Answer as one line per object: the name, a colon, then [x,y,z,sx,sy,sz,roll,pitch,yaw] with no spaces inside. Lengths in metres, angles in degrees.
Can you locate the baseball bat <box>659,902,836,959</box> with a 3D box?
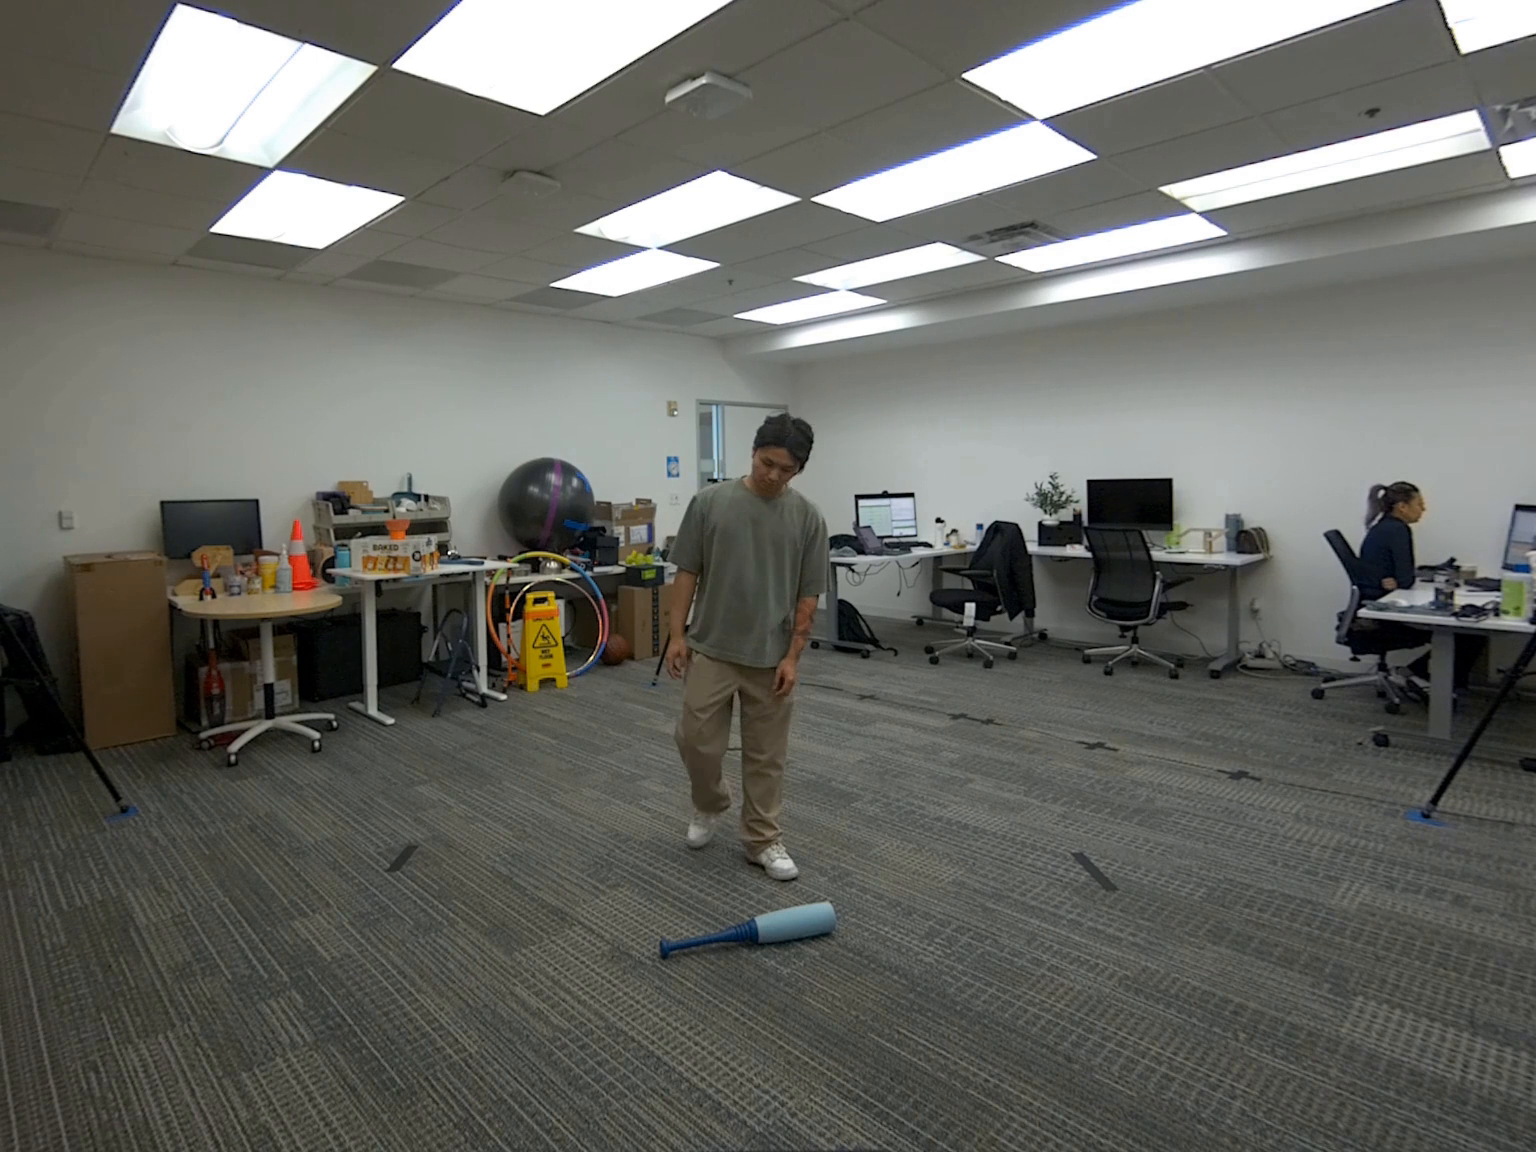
baseball bat: [-0.051,1.074,2.565,0.536,0.088,0.090,-5,6,-14]
